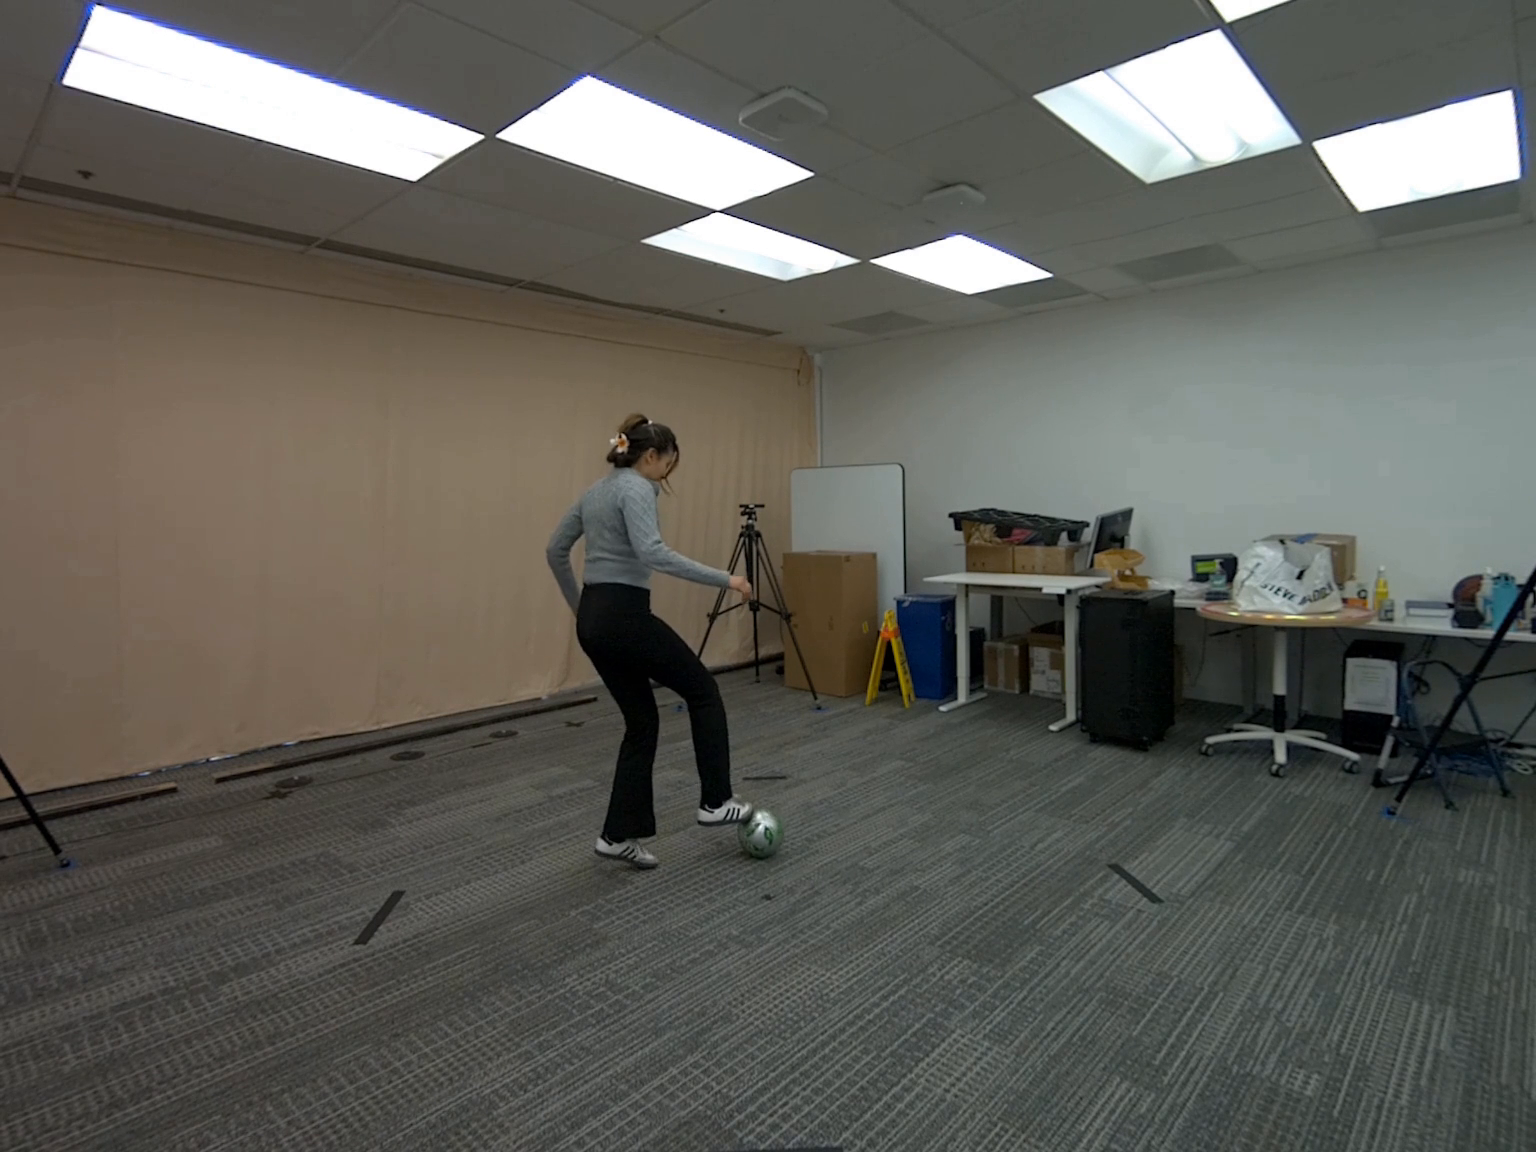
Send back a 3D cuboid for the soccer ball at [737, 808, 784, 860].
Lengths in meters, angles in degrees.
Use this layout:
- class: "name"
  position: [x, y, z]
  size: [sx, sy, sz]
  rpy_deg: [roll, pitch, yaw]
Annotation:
- class: "soccer ball"
  position: [-0.033, 1.020, 3.333]
  size: [0.187, 0.187, 0.188]
  rpy_deg: [-1, 4, -2]
